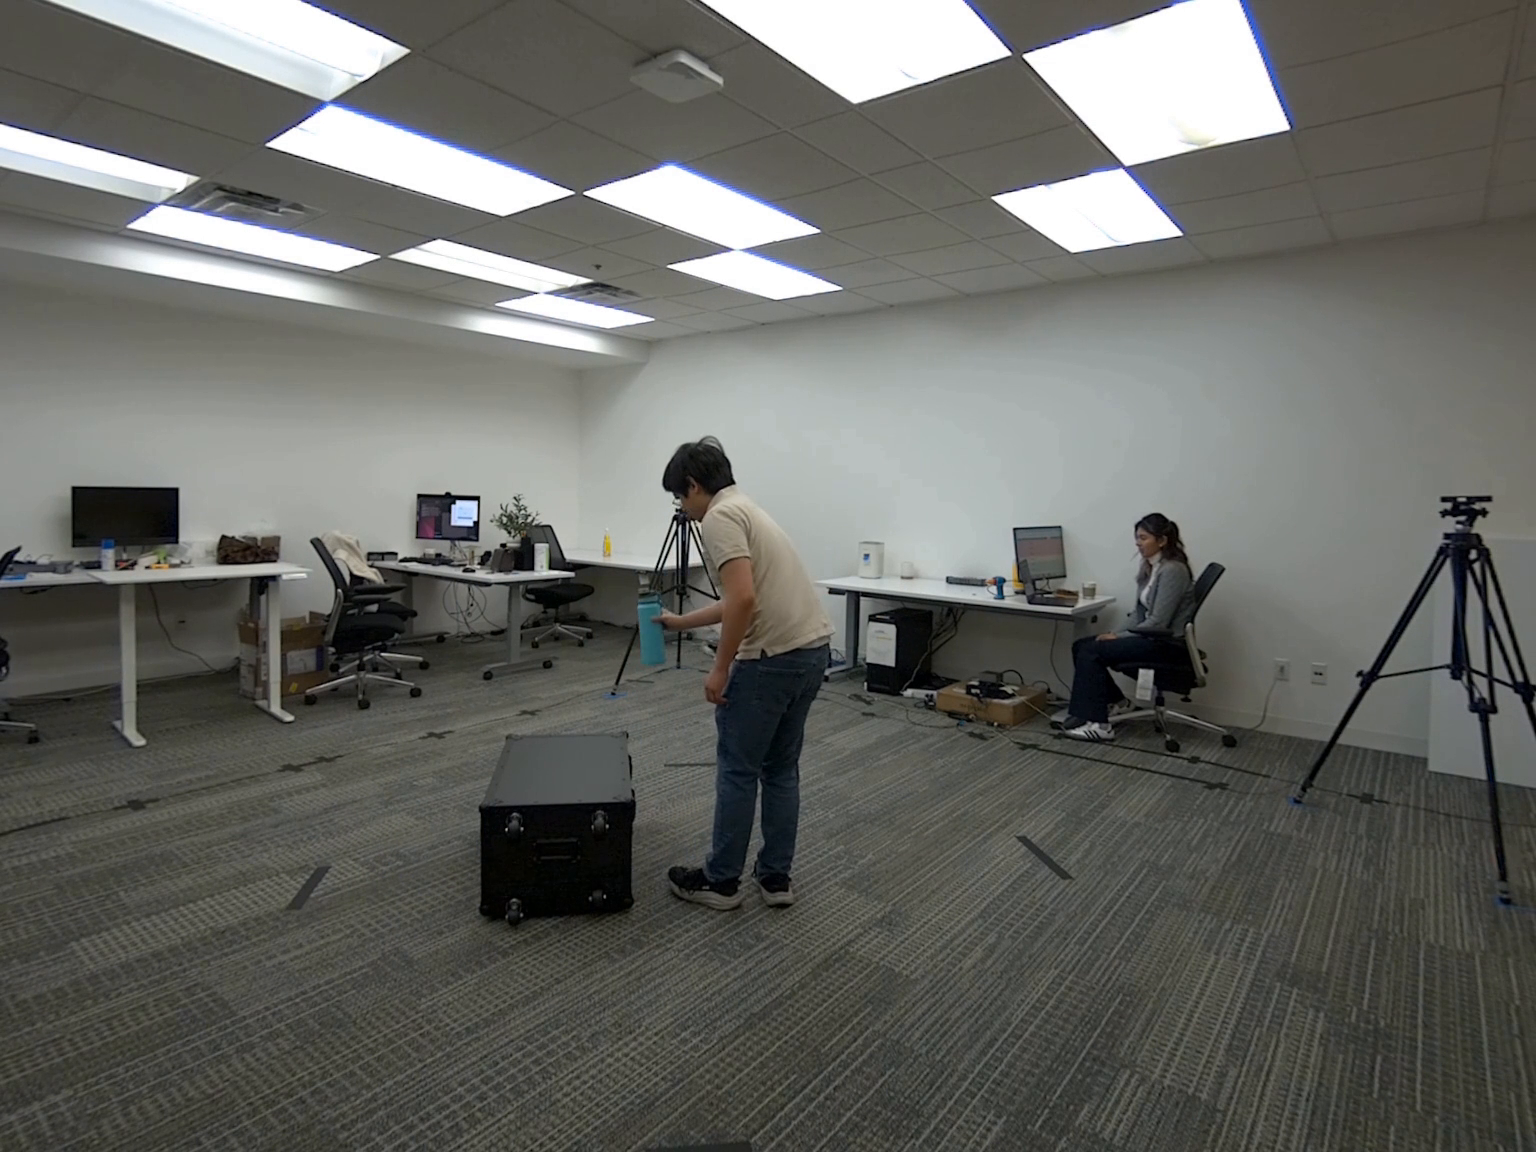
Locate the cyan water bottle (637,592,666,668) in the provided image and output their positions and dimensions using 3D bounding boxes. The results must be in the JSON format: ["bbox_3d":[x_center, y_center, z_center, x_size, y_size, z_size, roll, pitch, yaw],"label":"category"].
[{"bbox_3d":[-0.447,0.184,3.182,0.092,0.283,0.092,-2,1,-2],"label":"cyan water bottle"}]
